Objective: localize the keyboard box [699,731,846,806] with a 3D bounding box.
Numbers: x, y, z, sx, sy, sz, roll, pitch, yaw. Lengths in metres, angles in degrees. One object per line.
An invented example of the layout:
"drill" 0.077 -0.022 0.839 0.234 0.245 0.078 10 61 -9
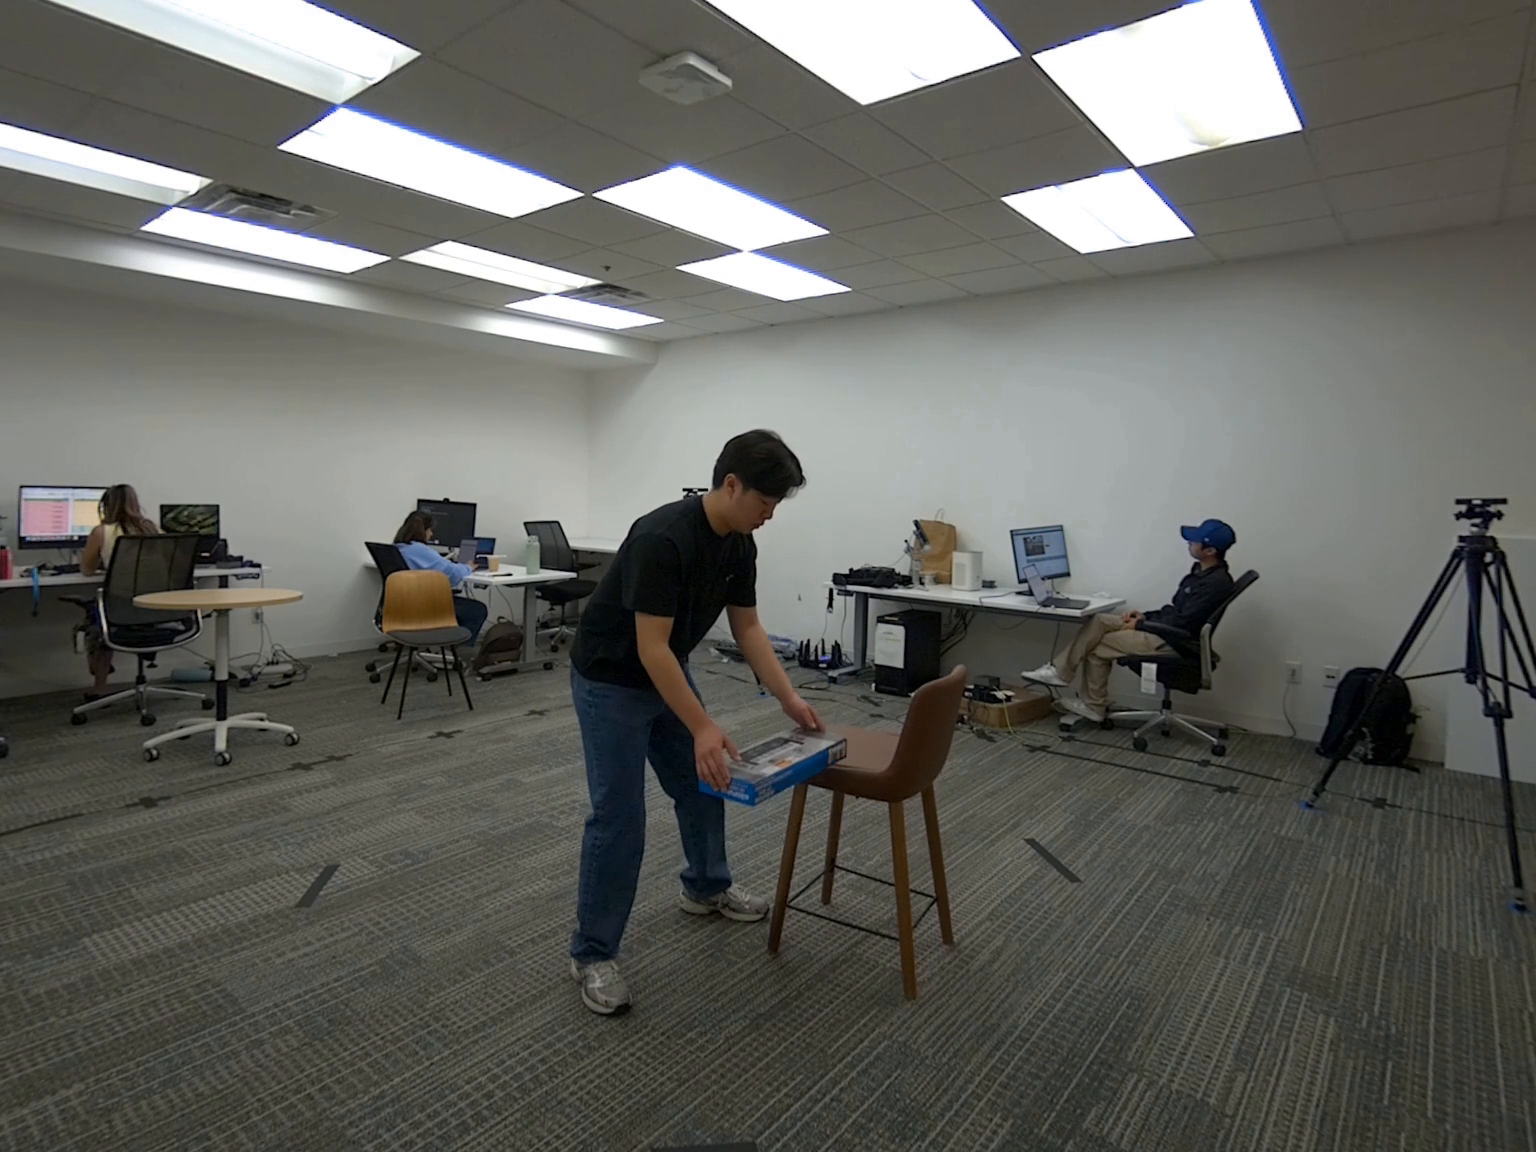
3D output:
"keyboard box" 0.025 0.504 2.250 0.182 0.059 0.424 7 9 41
